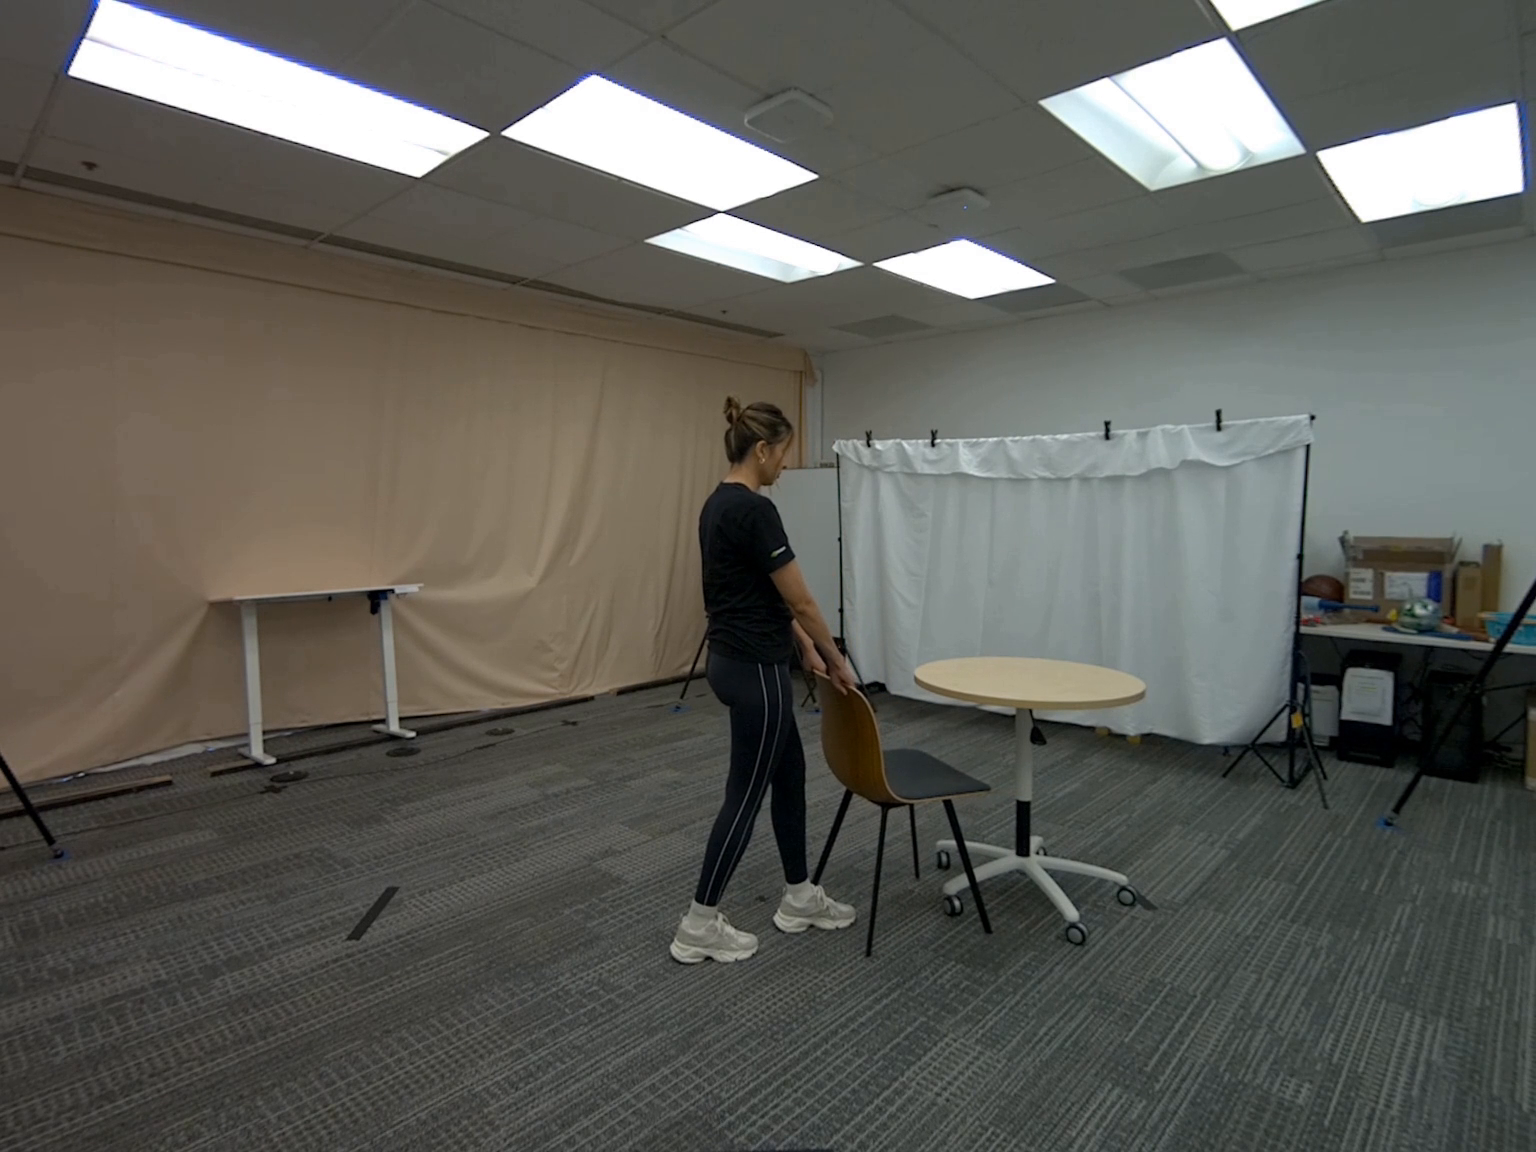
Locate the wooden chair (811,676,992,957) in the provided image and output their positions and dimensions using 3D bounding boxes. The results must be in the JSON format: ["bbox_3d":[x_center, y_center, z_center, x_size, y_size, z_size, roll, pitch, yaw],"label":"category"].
[{"bbox_3d":[0.444,0.727,2.846,0.514,0.875,0.488,-6,4,-19],"label":"wooden chair"}]
